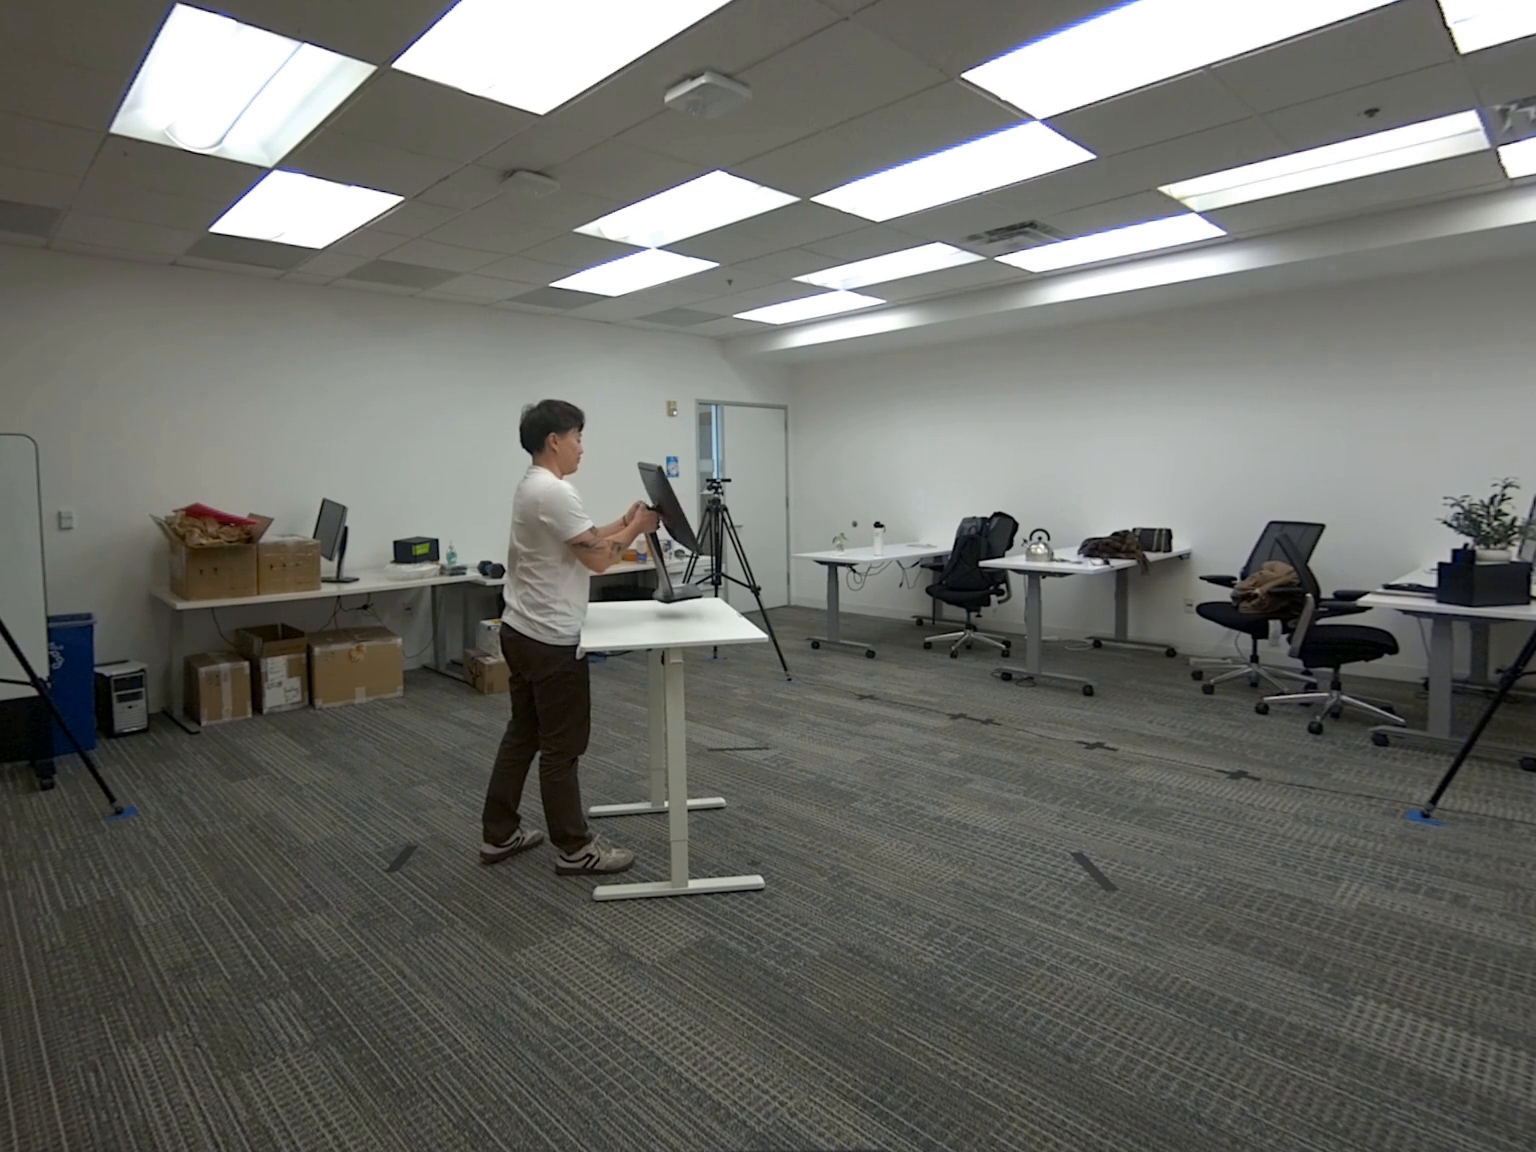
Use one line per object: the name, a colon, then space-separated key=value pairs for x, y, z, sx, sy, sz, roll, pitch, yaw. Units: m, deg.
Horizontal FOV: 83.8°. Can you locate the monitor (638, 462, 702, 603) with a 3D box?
monitor: x=-0.399 y=-0.170 z=3.252 sx=0.185 sy=0.517 sz=0.551 roll=-14 pitch=10 yaw=-16
